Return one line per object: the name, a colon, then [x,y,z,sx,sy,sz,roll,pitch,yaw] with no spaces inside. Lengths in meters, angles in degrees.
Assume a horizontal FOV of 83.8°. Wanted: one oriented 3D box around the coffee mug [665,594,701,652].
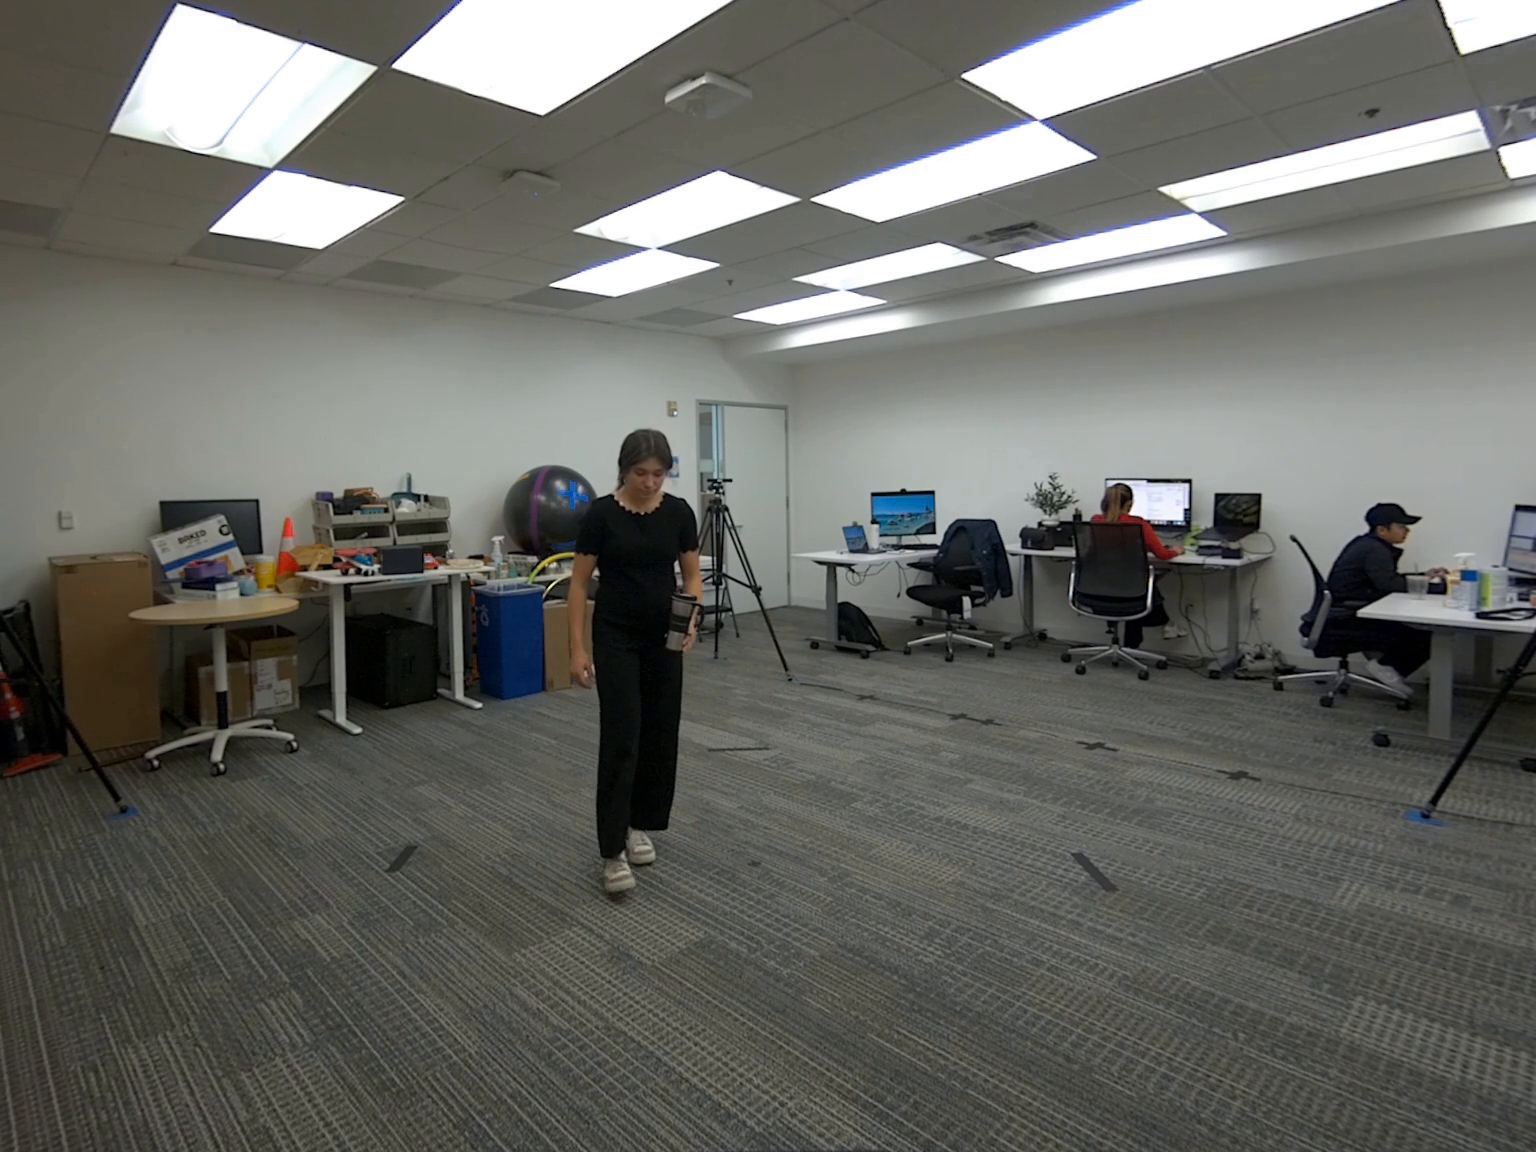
coffee mug: [-0.299,0.171,2.933,0.124,0.203,0.086,7,-1,20]
